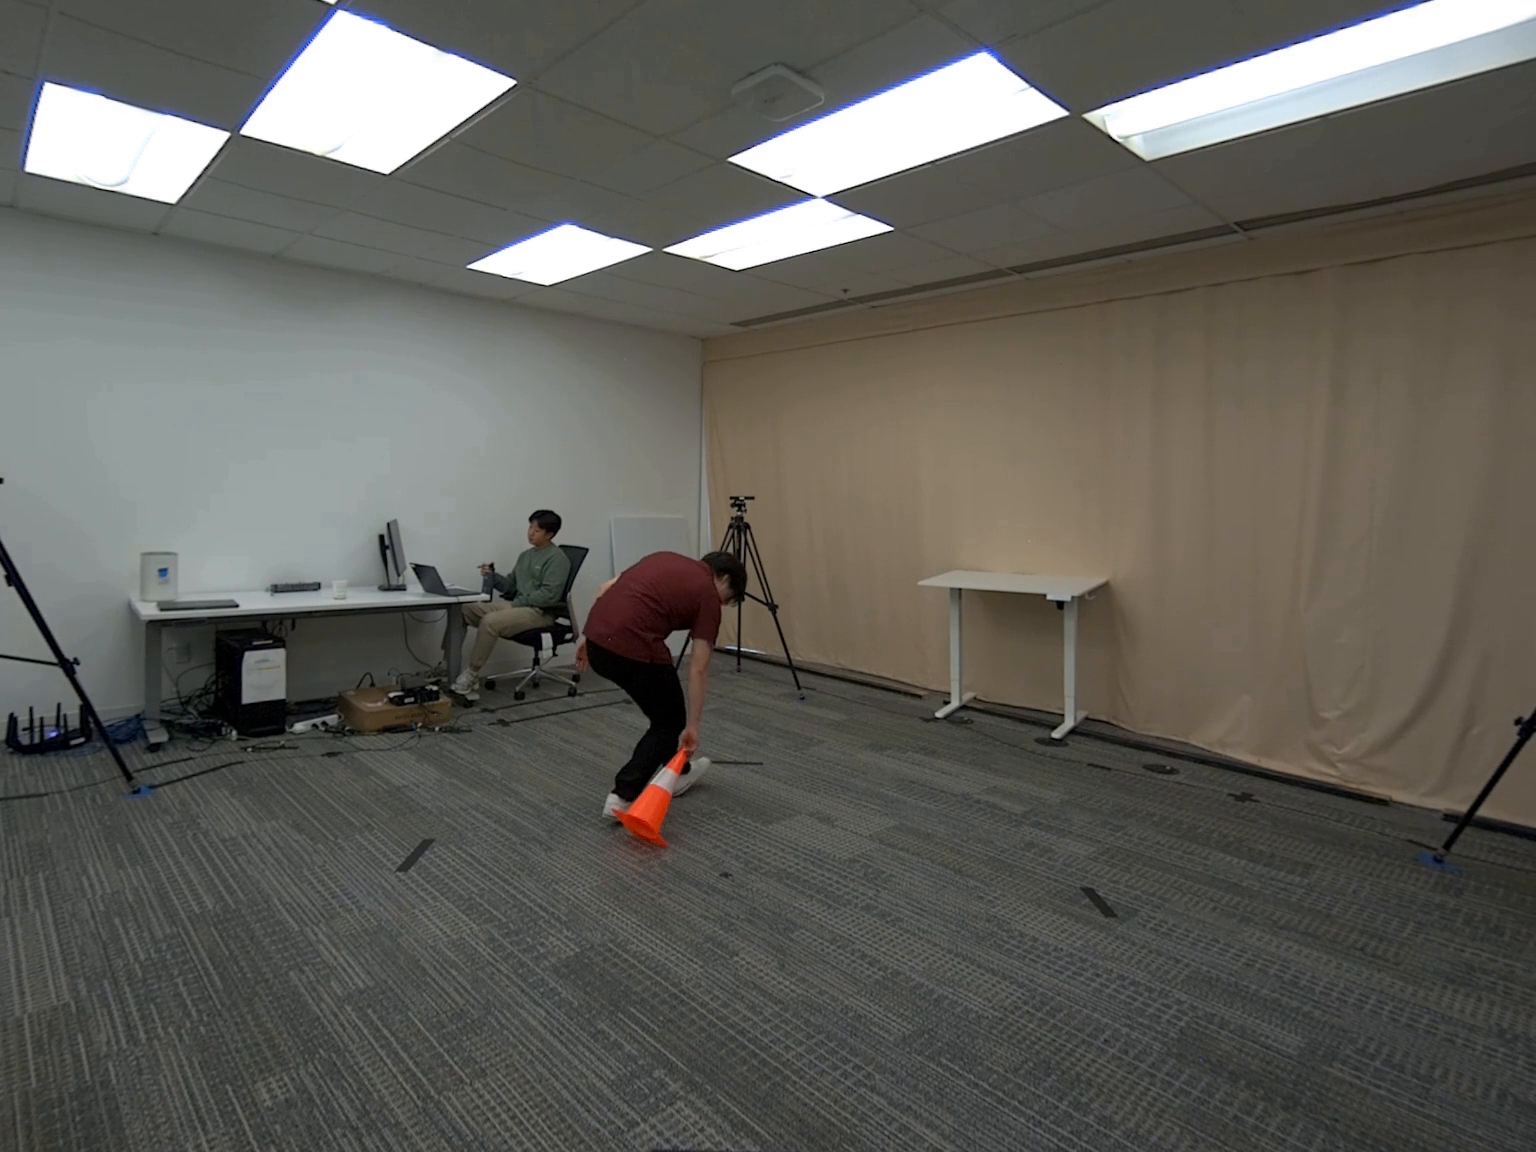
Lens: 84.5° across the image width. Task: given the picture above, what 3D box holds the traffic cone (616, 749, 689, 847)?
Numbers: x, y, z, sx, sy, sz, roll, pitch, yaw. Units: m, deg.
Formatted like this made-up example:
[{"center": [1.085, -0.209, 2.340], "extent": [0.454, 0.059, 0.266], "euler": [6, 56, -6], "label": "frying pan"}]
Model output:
[{"center": [-0.447, 0.873, 3.447], "extent": [0.209, 0.198, 0.386], "euler": [-7, 40, 37], "label": "traffic cone"}]
